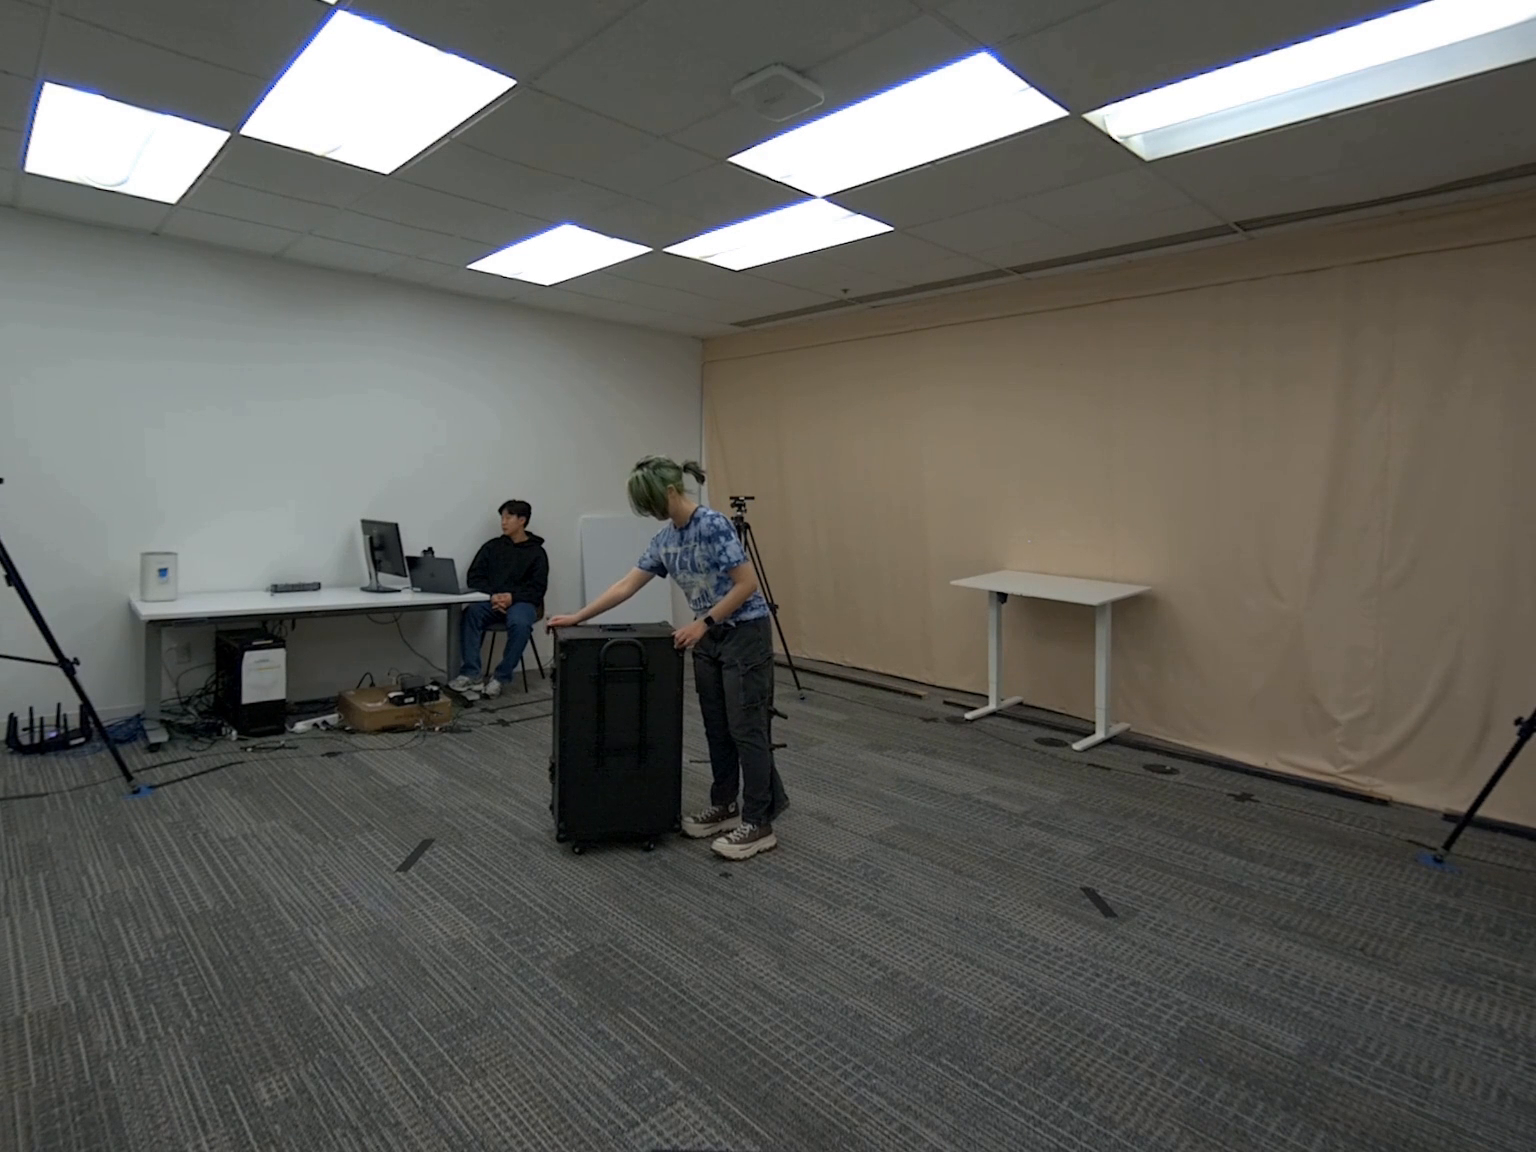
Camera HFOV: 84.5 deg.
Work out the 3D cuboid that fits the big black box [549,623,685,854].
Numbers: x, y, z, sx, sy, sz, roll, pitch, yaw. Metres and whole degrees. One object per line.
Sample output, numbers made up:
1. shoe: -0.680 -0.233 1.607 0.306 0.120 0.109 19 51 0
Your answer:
1. big black box: -0.615 0.648 3.385 0.515 0.859 0.402 1 4 -16
